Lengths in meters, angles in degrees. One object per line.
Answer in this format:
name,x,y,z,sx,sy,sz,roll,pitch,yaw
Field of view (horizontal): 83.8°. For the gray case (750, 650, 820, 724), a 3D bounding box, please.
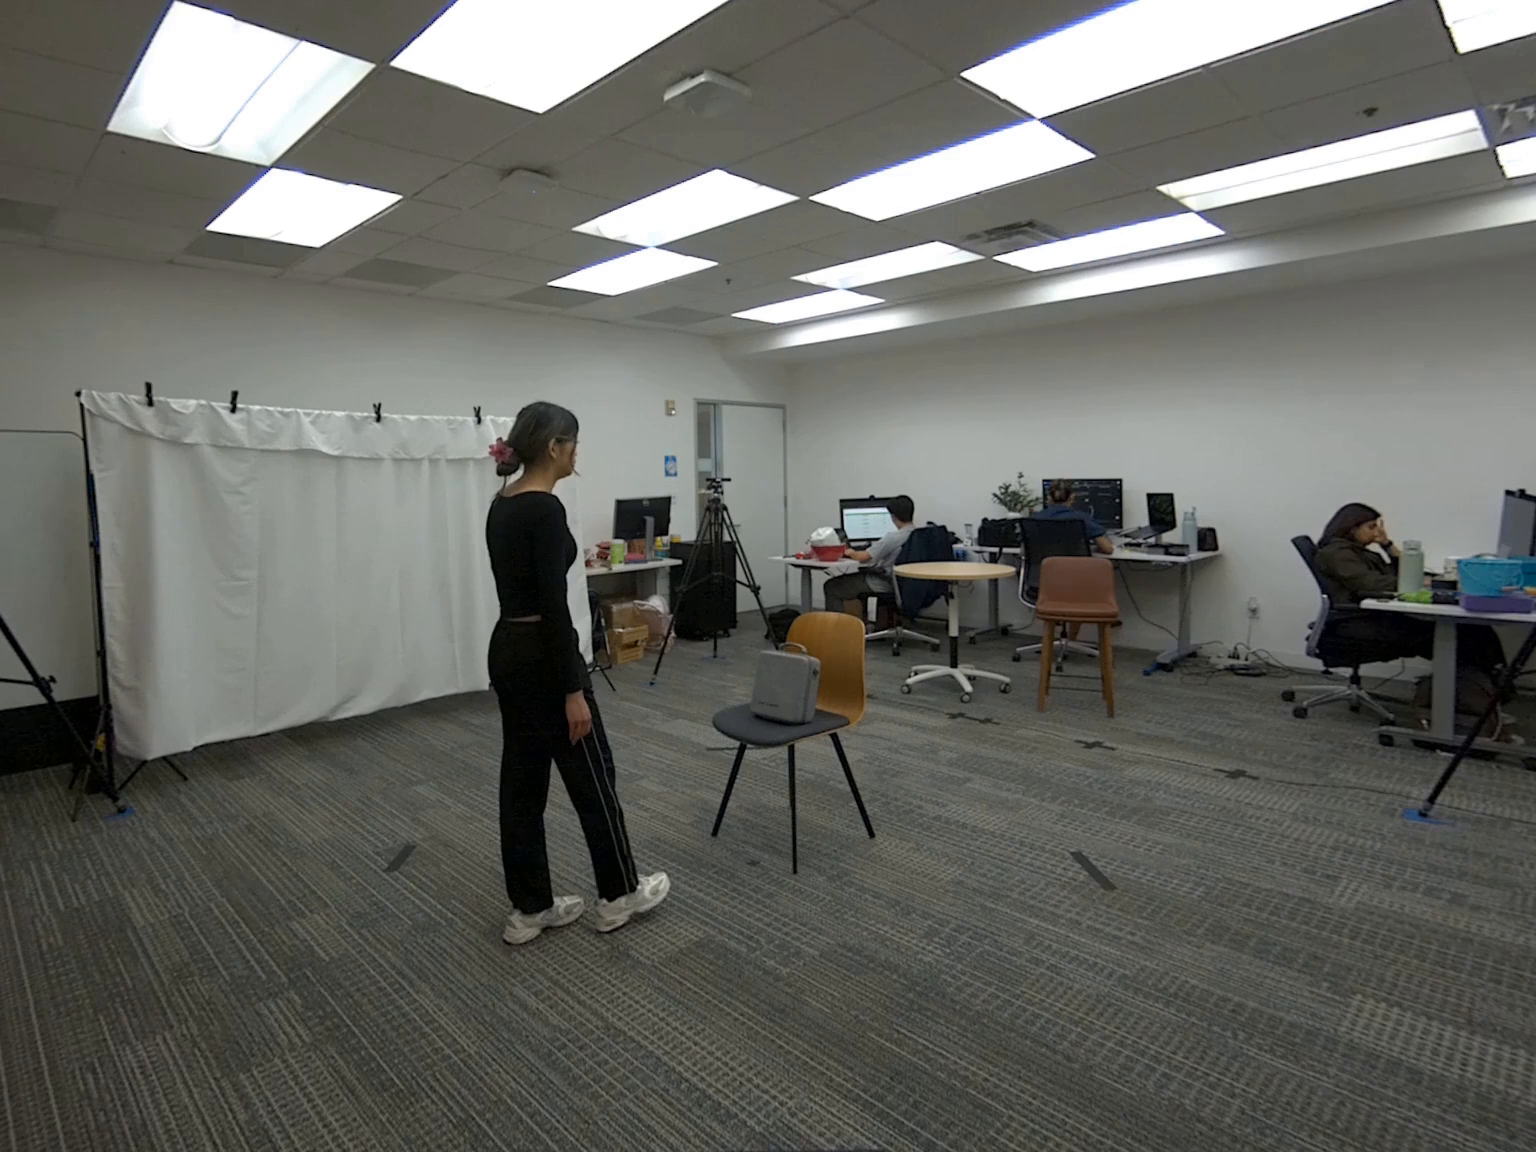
gray case,0.073,0.411,3.247,0.265,0.262,0.101,3,-8,45
